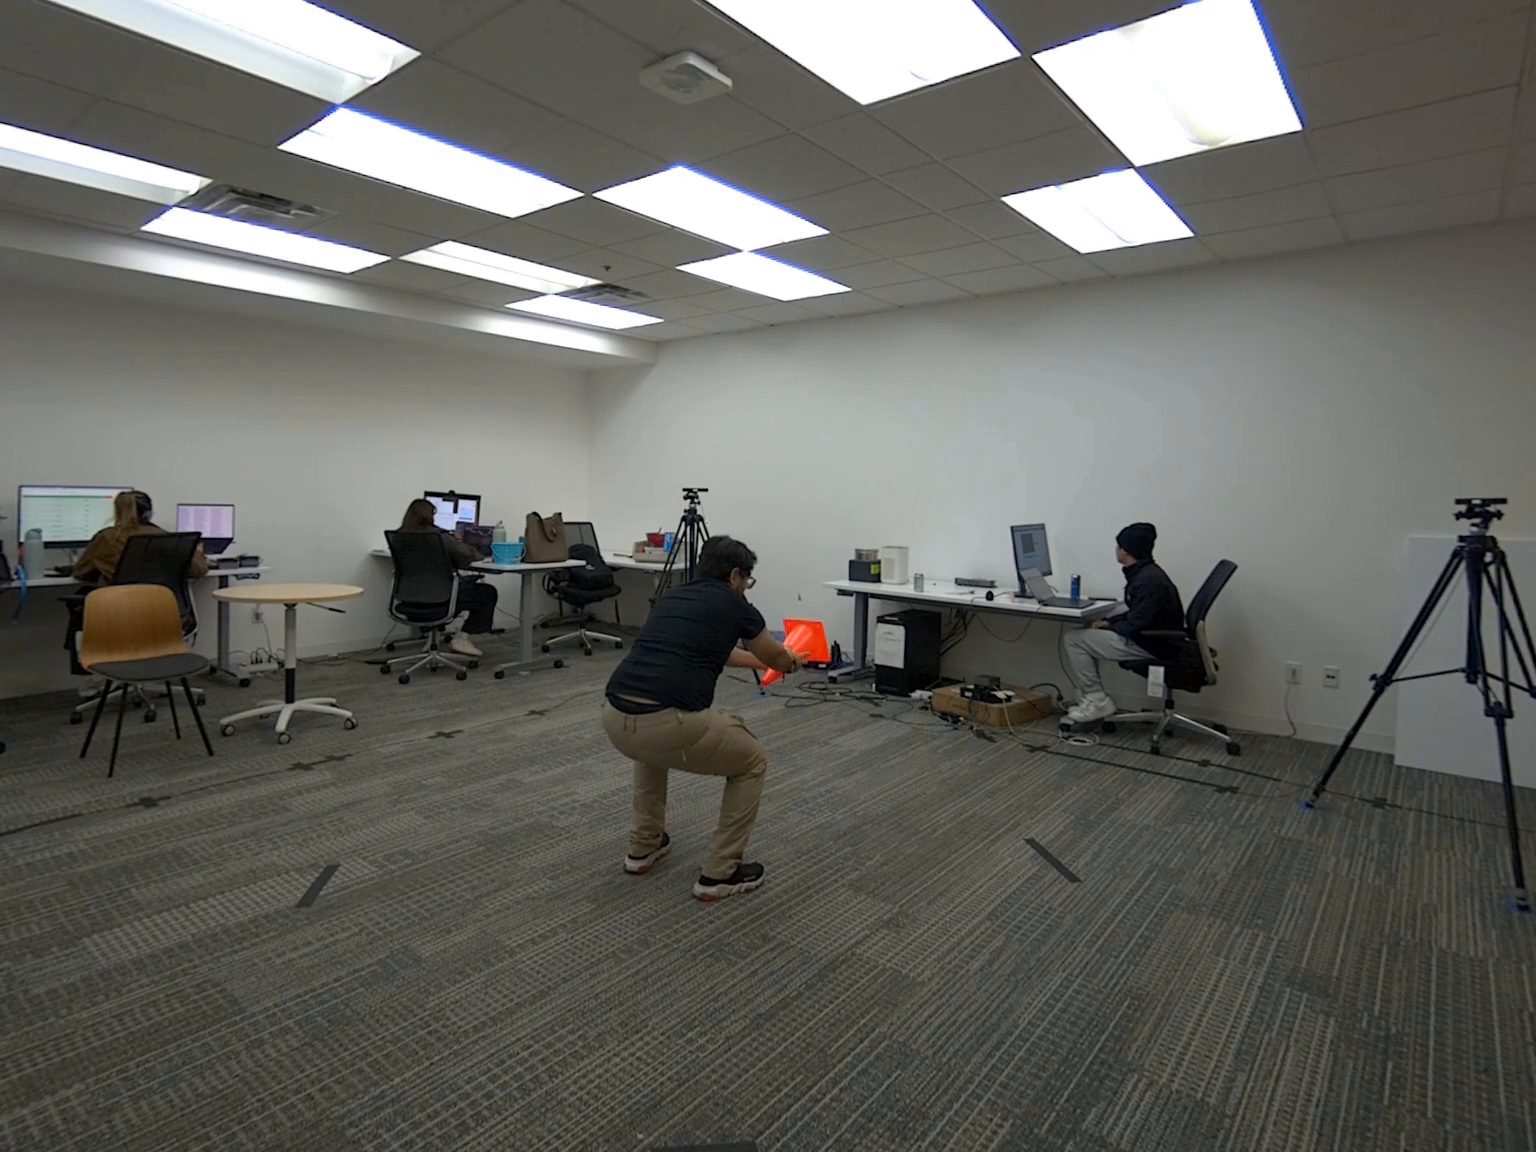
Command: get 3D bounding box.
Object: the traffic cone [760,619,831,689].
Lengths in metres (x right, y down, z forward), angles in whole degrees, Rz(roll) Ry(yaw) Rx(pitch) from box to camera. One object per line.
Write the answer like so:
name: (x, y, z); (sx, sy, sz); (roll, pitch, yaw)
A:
traffic cone: (0.062, 0.347, 3.561); (0.211, 0.199, 0.380); (1, 23, 34)
